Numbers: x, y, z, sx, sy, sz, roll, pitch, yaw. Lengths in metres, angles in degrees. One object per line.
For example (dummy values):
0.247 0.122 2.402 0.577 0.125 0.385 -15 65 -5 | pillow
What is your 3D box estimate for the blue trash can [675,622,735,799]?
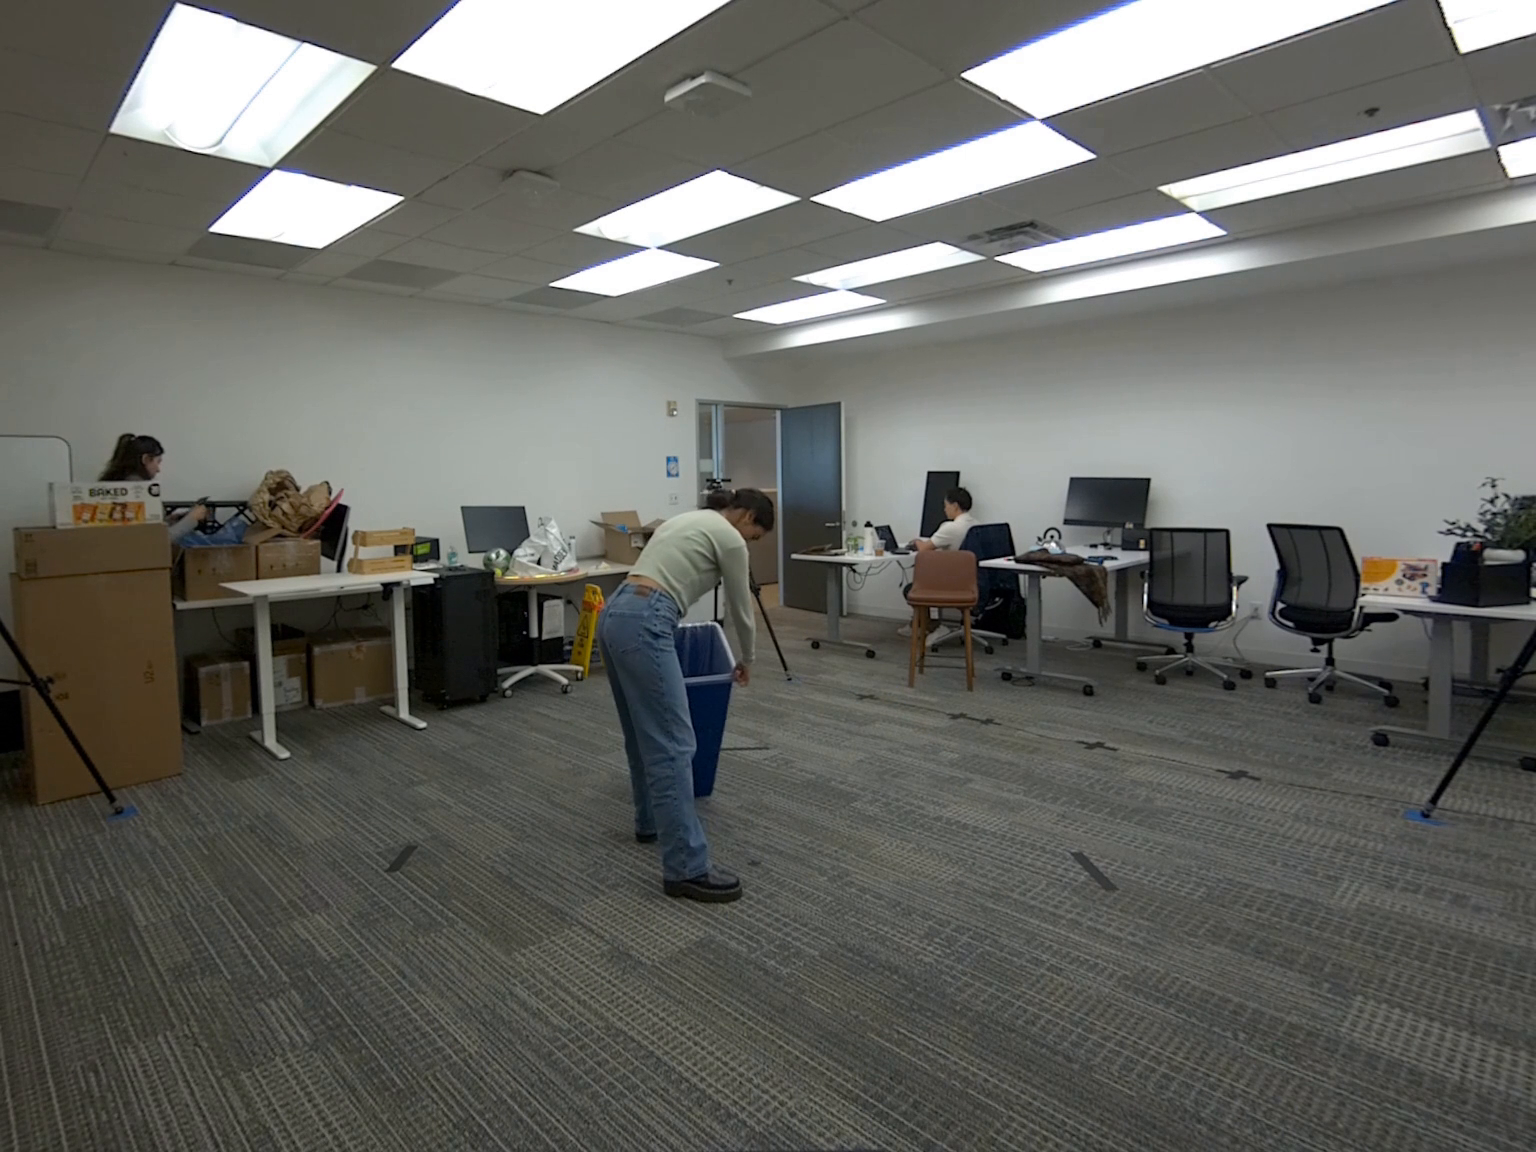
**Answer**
-0.372 0.603 3.680 0.372 0.699 0.387 -3 33 -18 | blue trash can
